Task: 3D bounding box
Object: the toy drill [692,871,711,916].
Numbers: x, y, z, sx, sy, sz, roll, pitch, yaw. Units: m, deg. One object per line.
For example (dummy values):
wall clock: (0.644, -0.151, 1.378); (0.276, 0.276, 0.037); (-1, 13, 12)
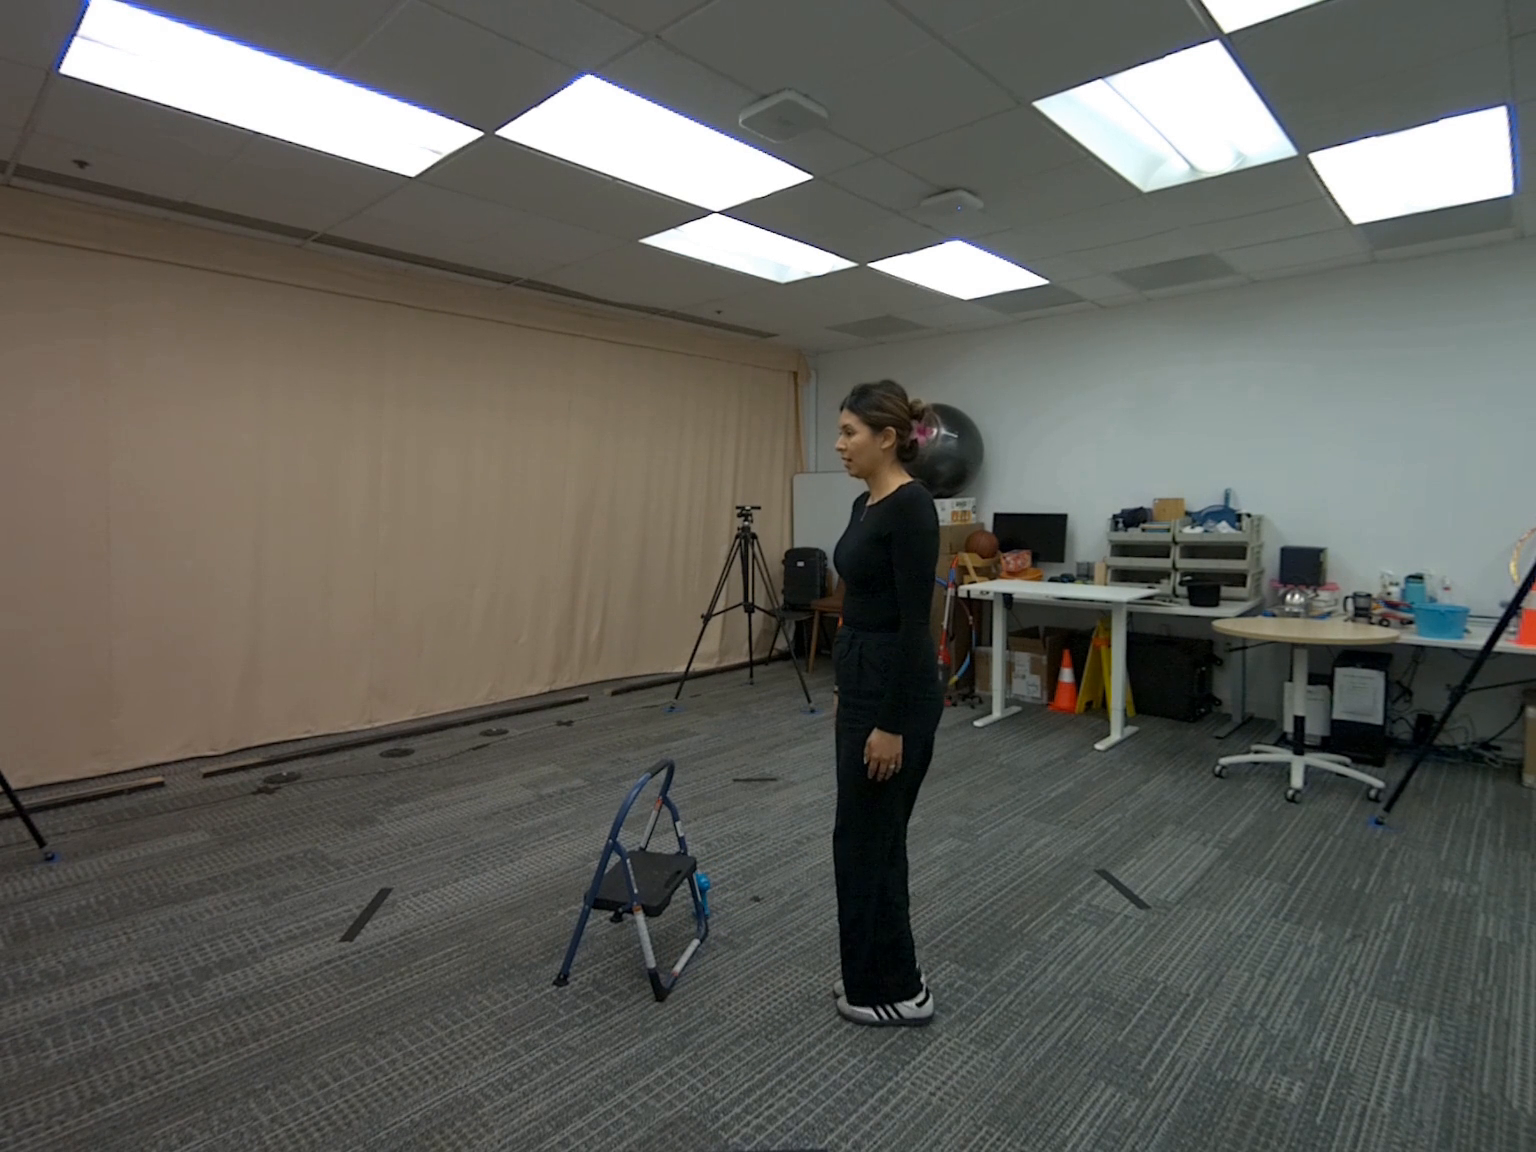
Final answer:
toy drill: (-0.240, 1.086, 2.890); (0.059, 0.146, 0.174); (-1, 2, -29)
